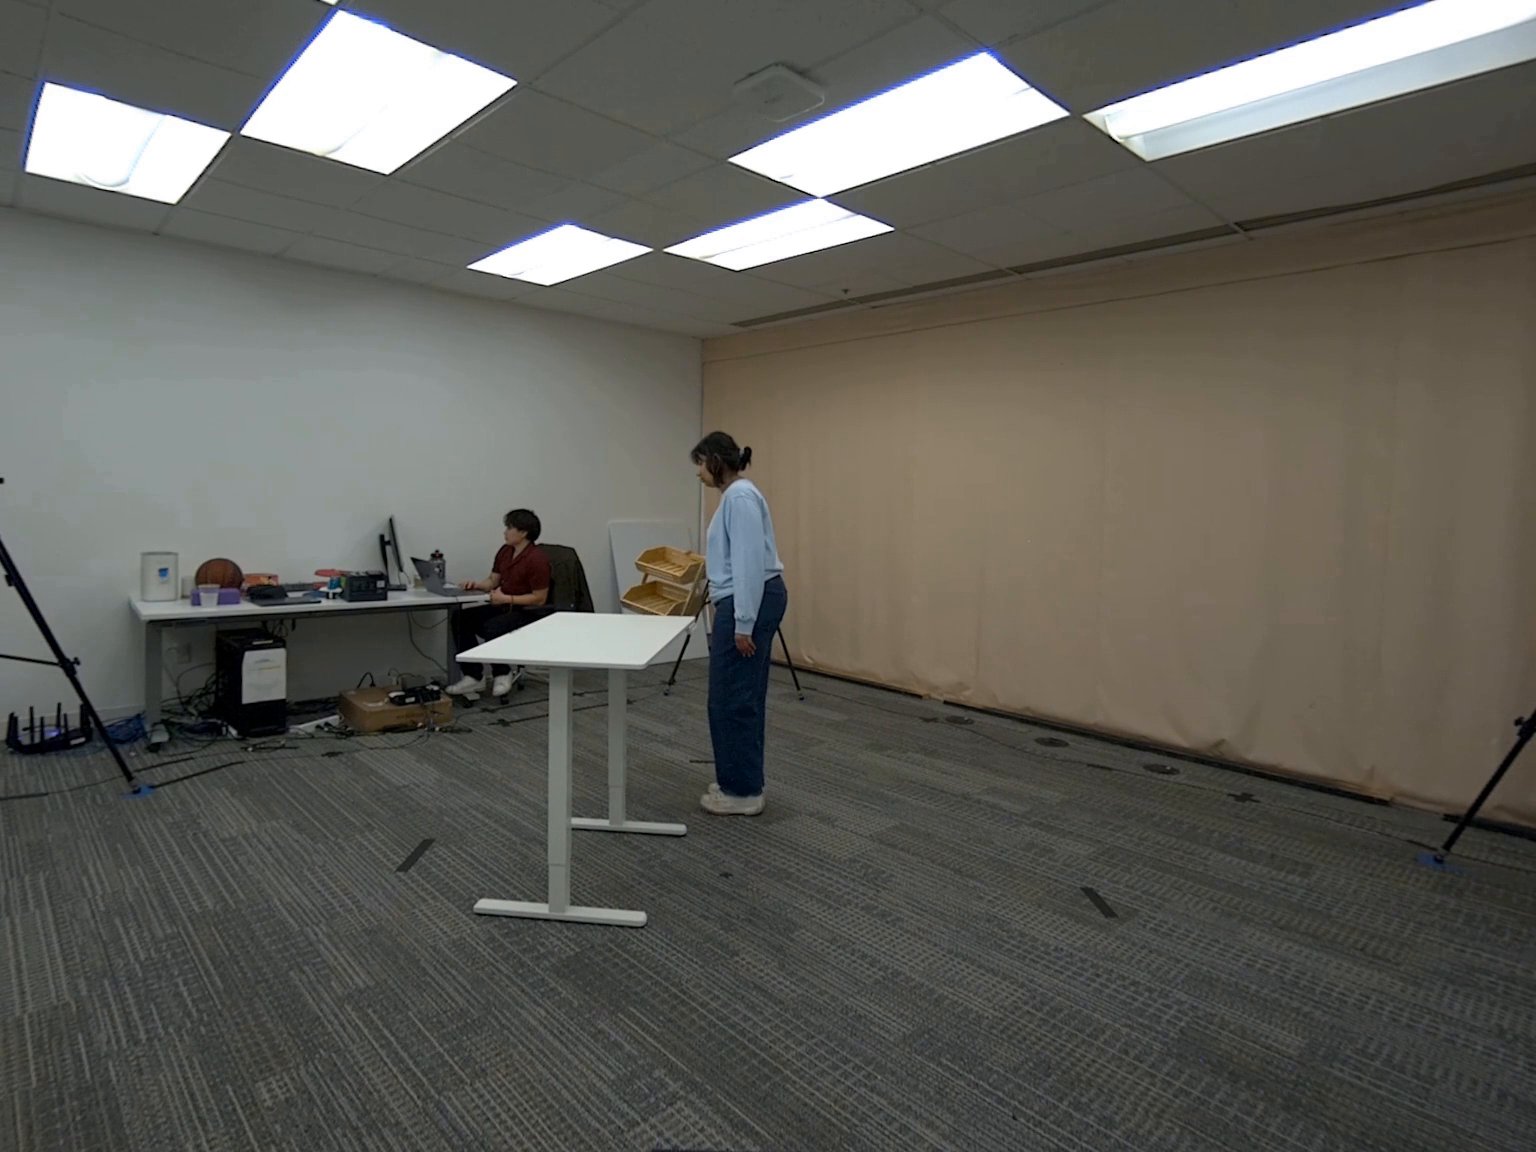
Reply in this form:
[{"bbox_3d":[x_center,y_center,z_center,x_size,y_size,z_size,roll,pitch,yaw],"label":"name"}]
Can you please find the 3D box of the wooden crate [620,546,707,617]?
[{"bbox_3d":[-0.494,0.033,4.002,0.333,0.270,0.297,17,20,35],"label":"wooden crate"}]
